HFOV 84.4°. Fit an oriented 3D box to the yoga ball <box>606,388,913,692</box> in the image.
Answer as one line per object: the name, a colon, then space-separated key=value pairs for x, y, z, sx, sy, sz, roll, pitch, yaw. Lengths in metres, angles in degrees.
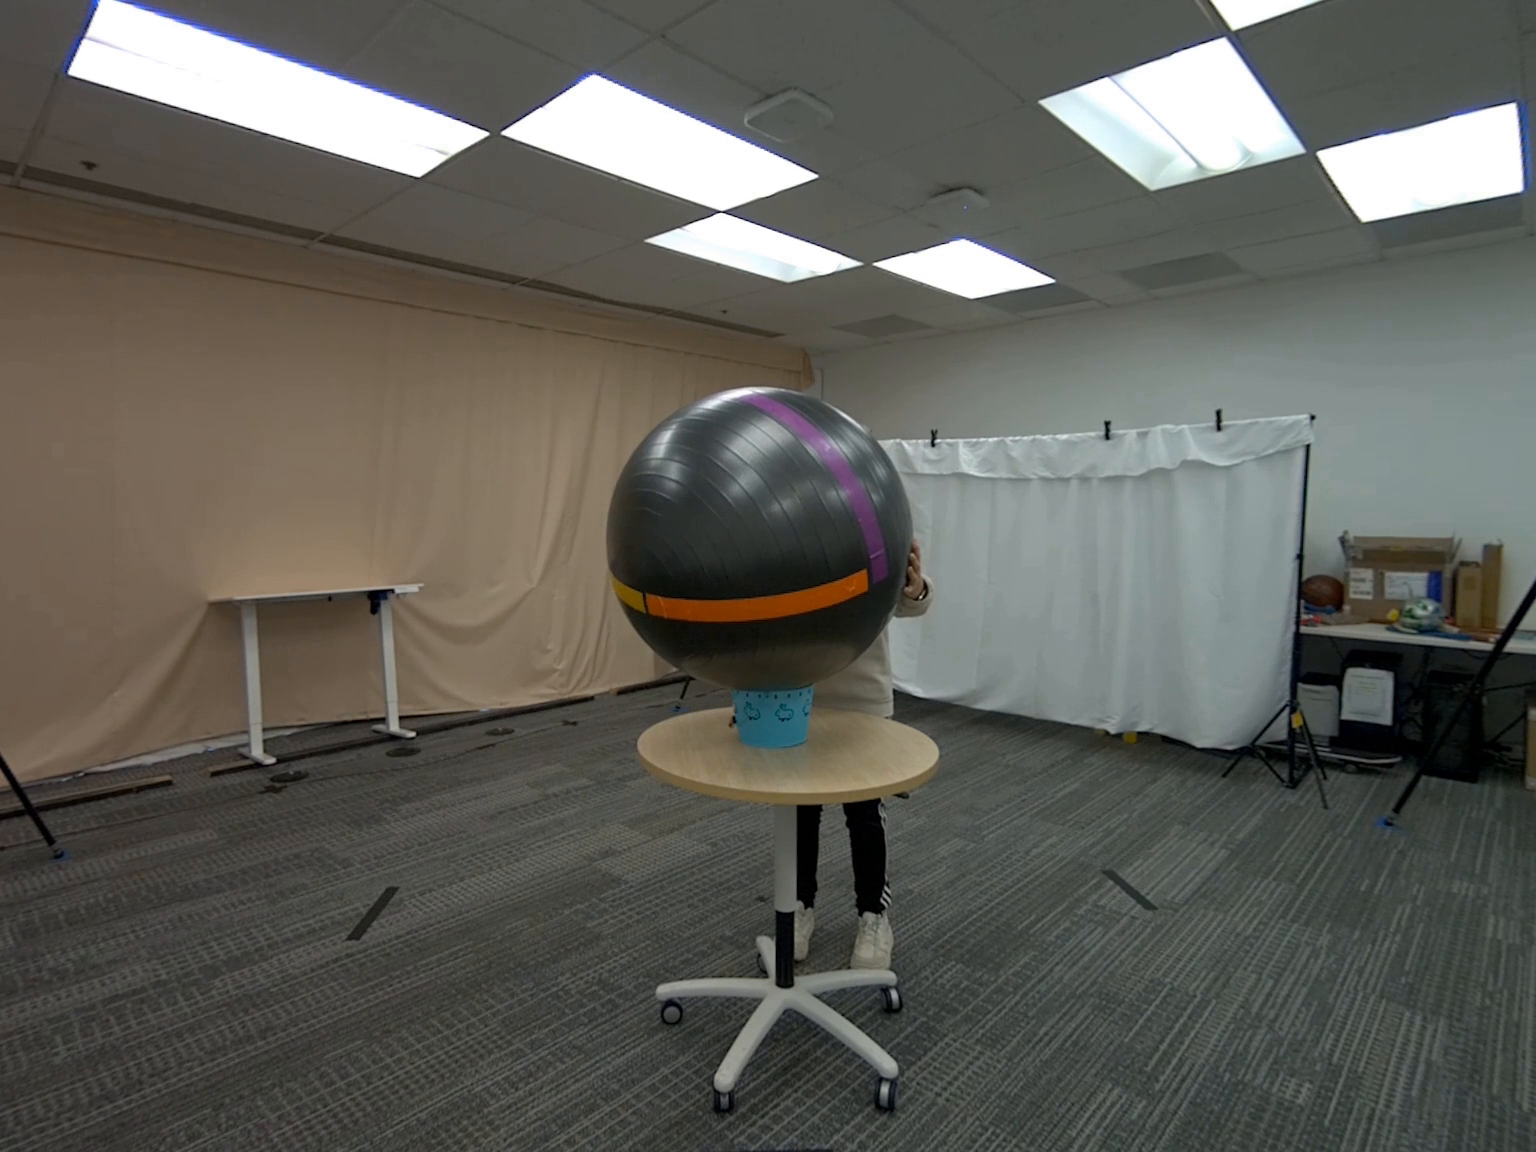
yoga ball: x=-0.023 y=-0.087 z=2.100 sx=0.757 sy=0.756 sz=0.760 roll=0 pitch=4 yaw=-2
